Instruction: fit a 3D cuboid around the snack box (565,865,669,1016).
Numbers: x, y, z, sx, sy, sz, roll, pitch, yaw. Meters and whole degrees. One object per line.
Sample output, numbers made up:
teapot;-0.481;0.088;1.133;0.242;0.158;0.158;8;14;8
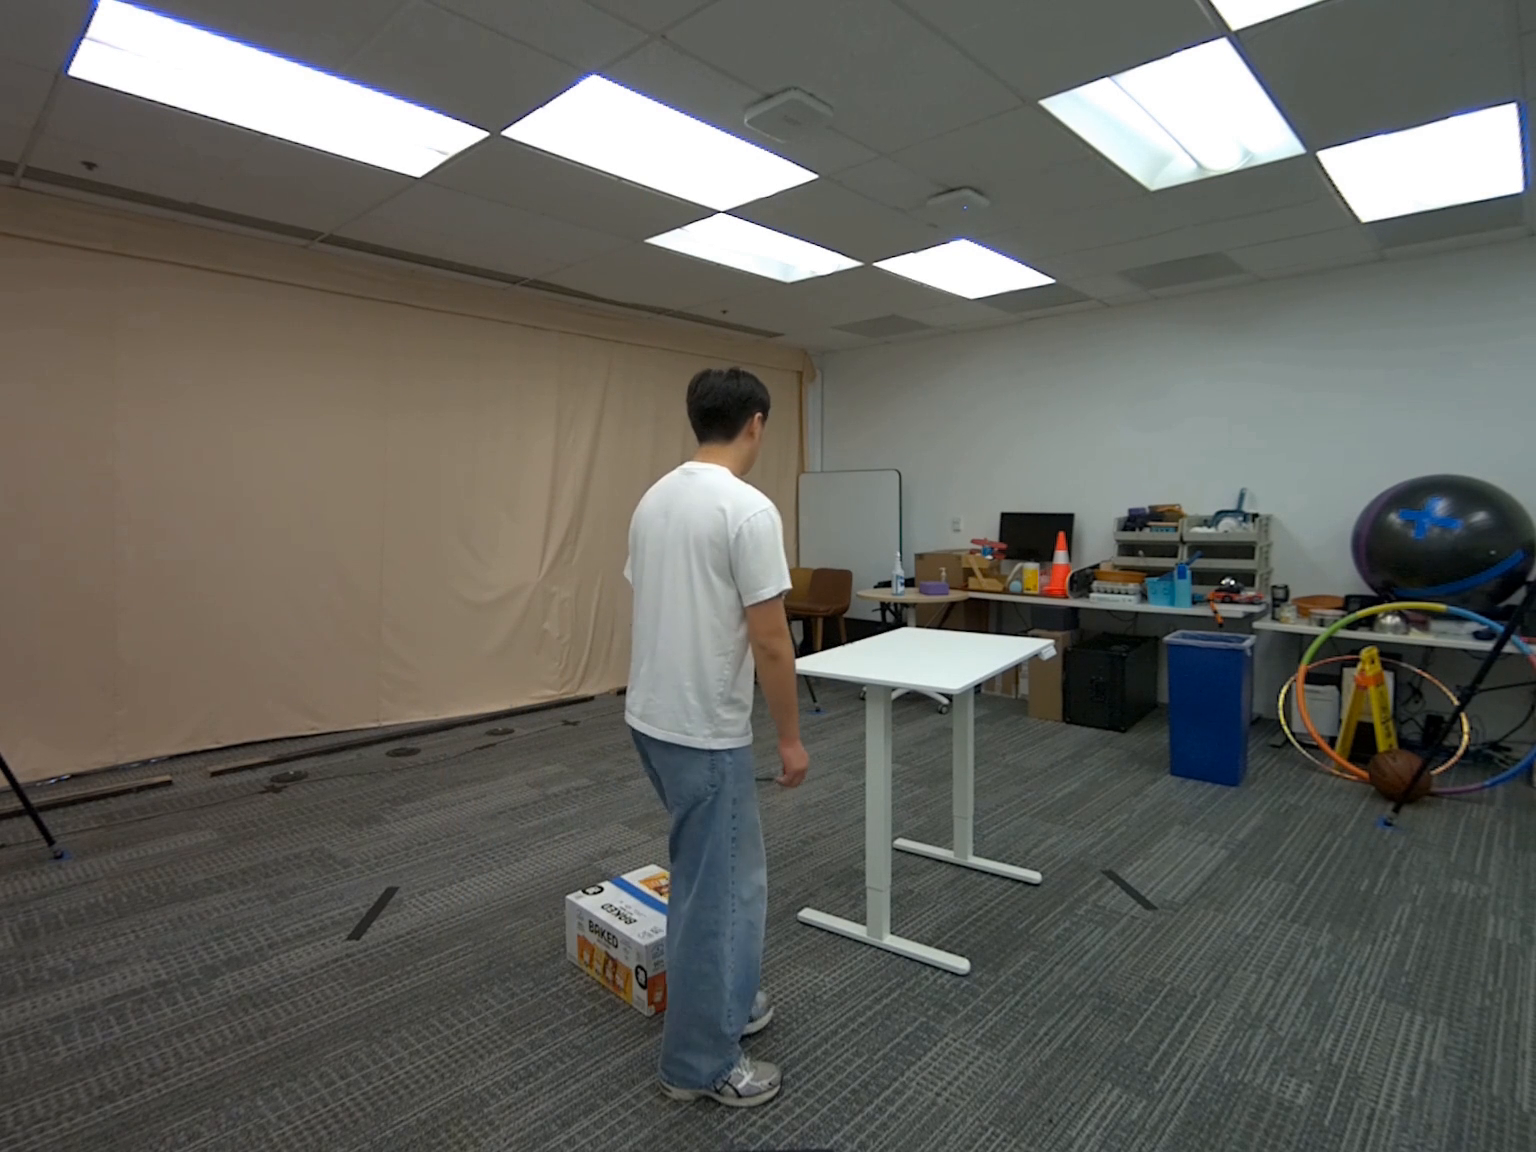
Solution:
snack box;-0.355;1.082;2.541;0.330;0.205;0.419;-4;6;-44
